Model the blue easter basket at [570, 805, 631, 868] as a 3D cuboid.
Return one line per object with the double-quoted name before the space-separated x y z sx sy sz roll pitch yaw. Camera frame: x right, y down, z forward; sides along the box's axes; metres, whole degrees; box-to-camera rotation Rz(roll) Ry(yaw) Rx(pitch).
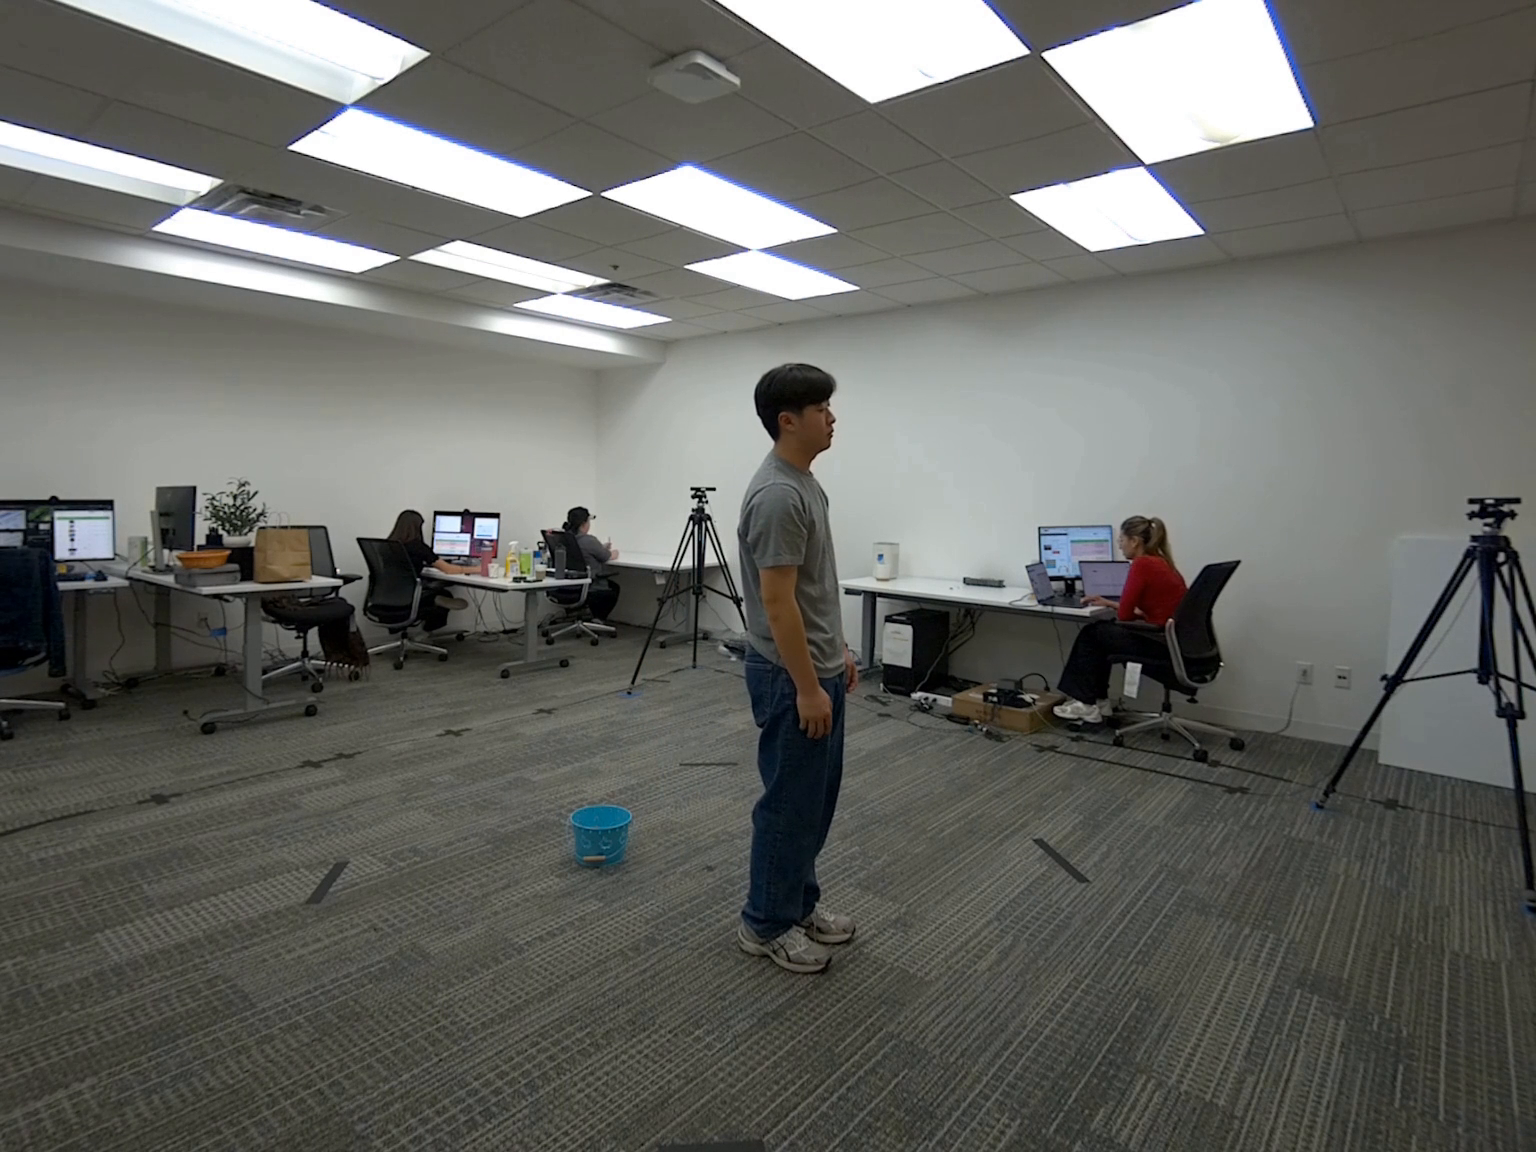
"blue easter basket" -0.642 0.972 3.187 0.243 0.155 0.245 1 4 -2
